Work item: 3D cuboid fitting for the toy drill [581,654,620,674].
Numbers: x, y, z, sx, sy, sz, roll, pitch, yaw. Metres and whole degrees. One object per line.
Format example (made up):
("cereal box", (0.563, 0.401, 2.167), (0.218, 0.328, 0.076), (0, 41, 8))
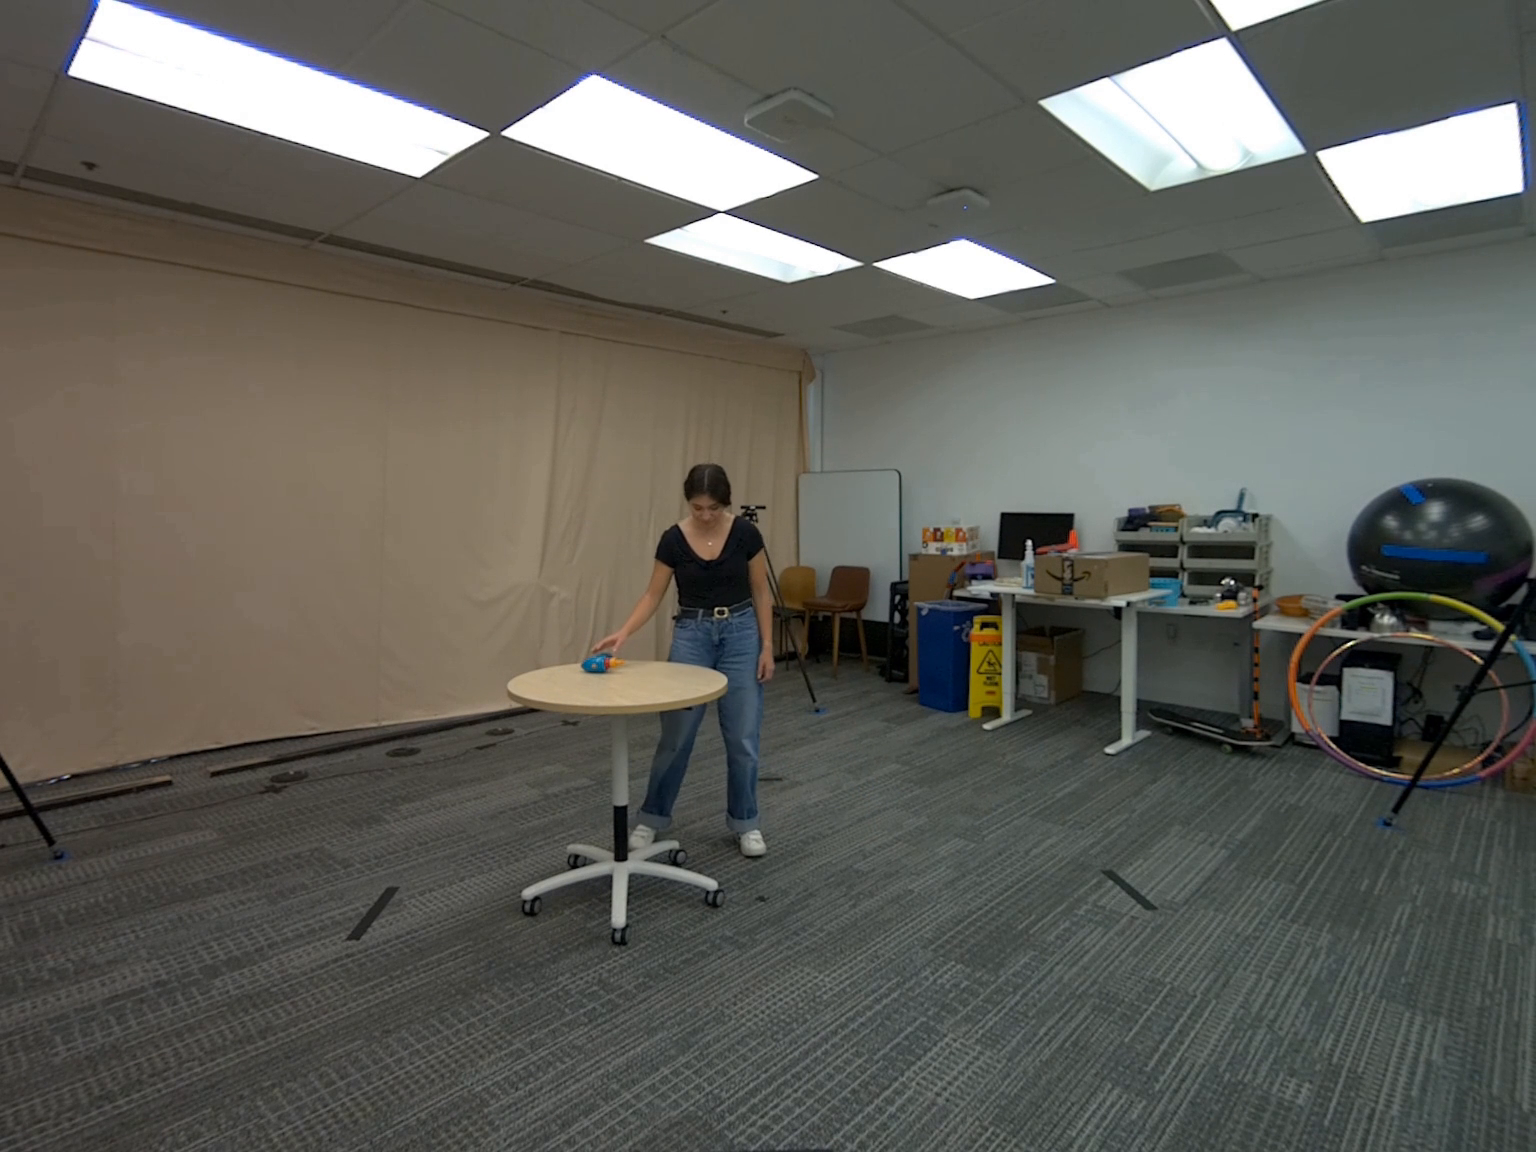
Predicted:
("toy drill", (-0.603, 0.325, 3.131), (0.171, 0.061, 0.145), (-9, 1, 9))
